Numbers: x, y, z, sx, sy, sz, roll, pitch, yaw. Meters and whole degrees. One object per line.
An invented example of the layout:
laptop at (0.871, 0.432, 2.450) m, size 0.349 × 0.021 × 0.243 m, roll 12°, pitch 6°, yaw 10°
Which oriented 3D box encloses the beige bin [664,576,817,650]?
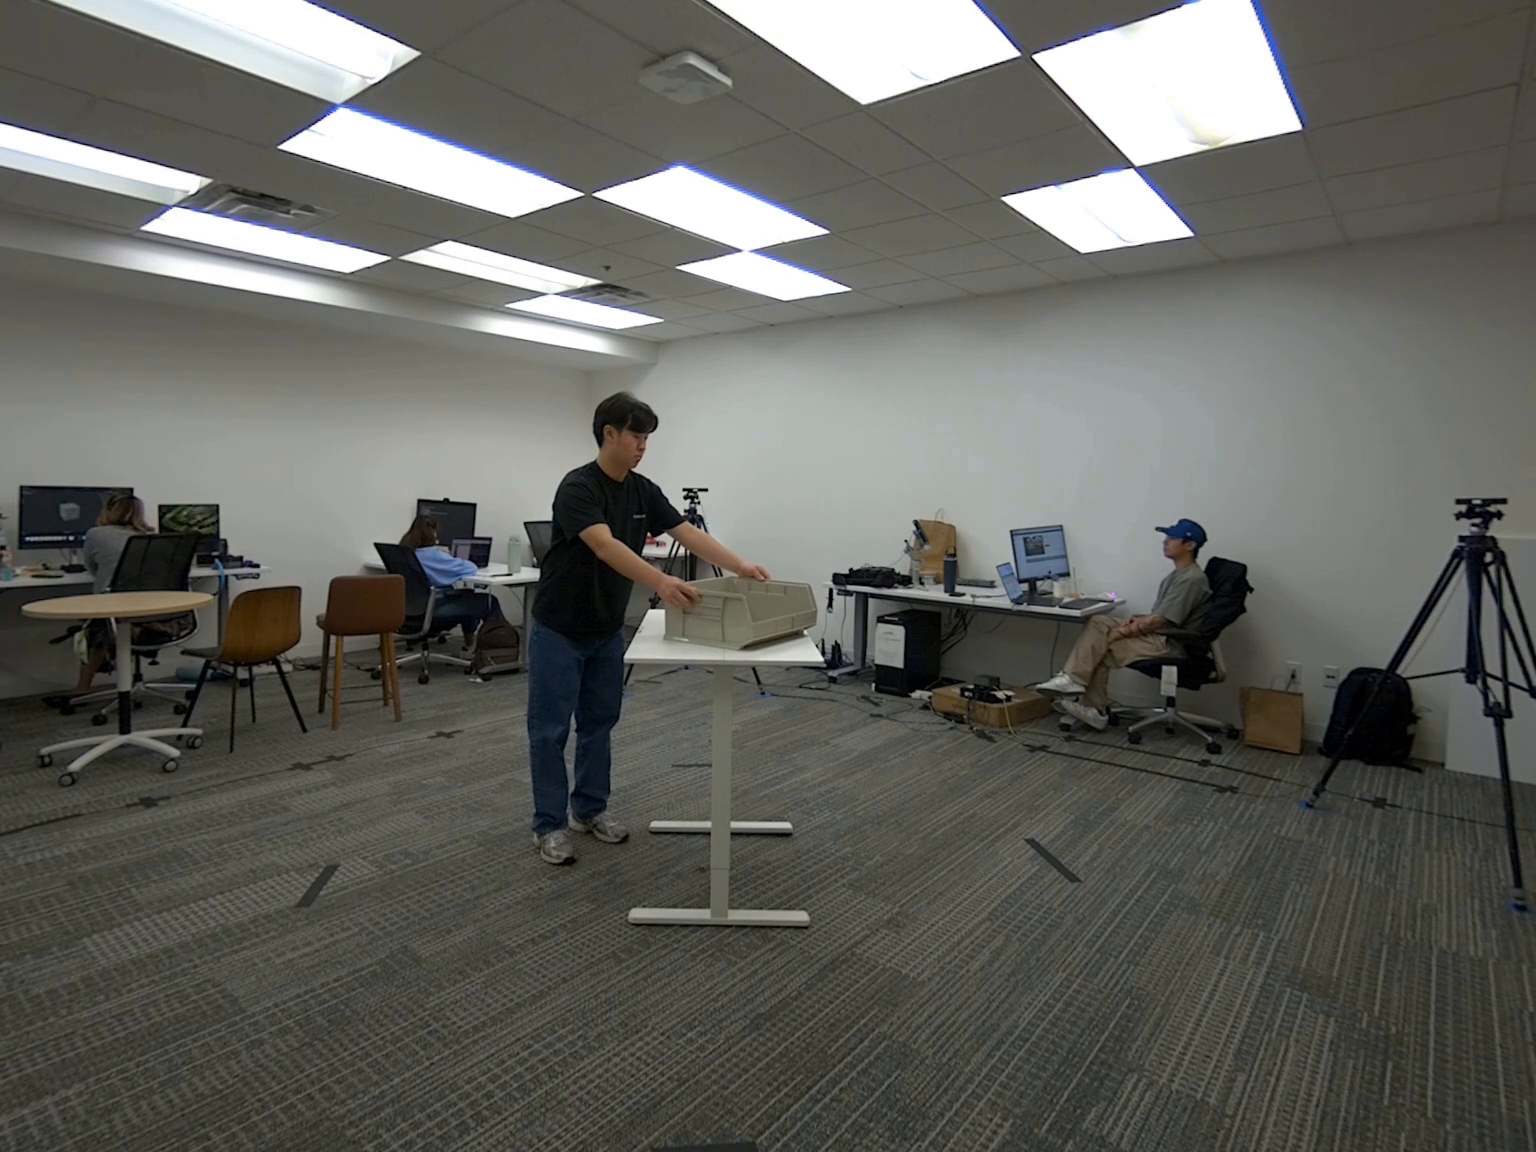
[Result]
beige bin at (-0.103, 0.120, 2.918) m, size 0.389 × 0.188 × 0.411 m, roll 3°, pitch 5°, yaw 34°
